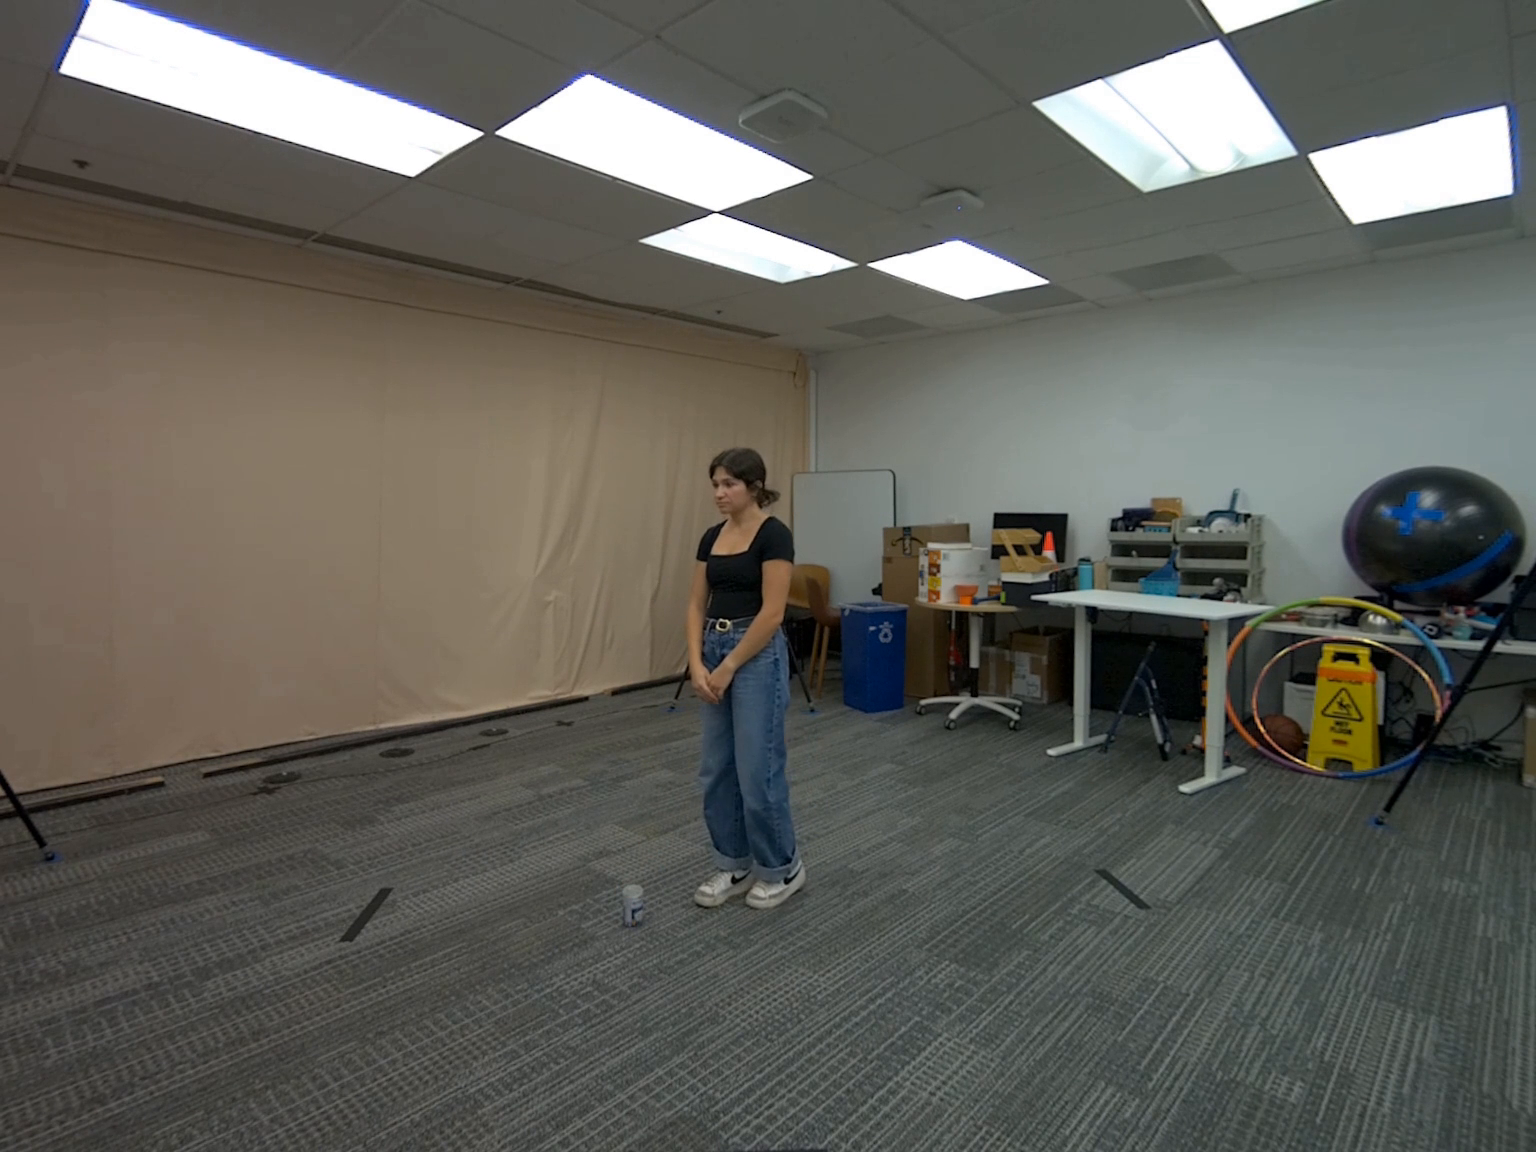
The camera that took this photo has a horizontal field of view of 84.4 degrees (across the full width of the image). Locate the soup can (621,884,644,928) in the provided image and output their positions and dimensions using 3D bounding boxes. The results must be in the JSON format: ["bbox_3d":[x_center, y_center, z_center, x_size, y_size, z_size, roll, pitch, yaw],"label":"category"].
[{"bbox_3d":[-0.447,1.109,2.810,0.067,0.121,0.067,-4,0,-2],"label":"soup can"}]
